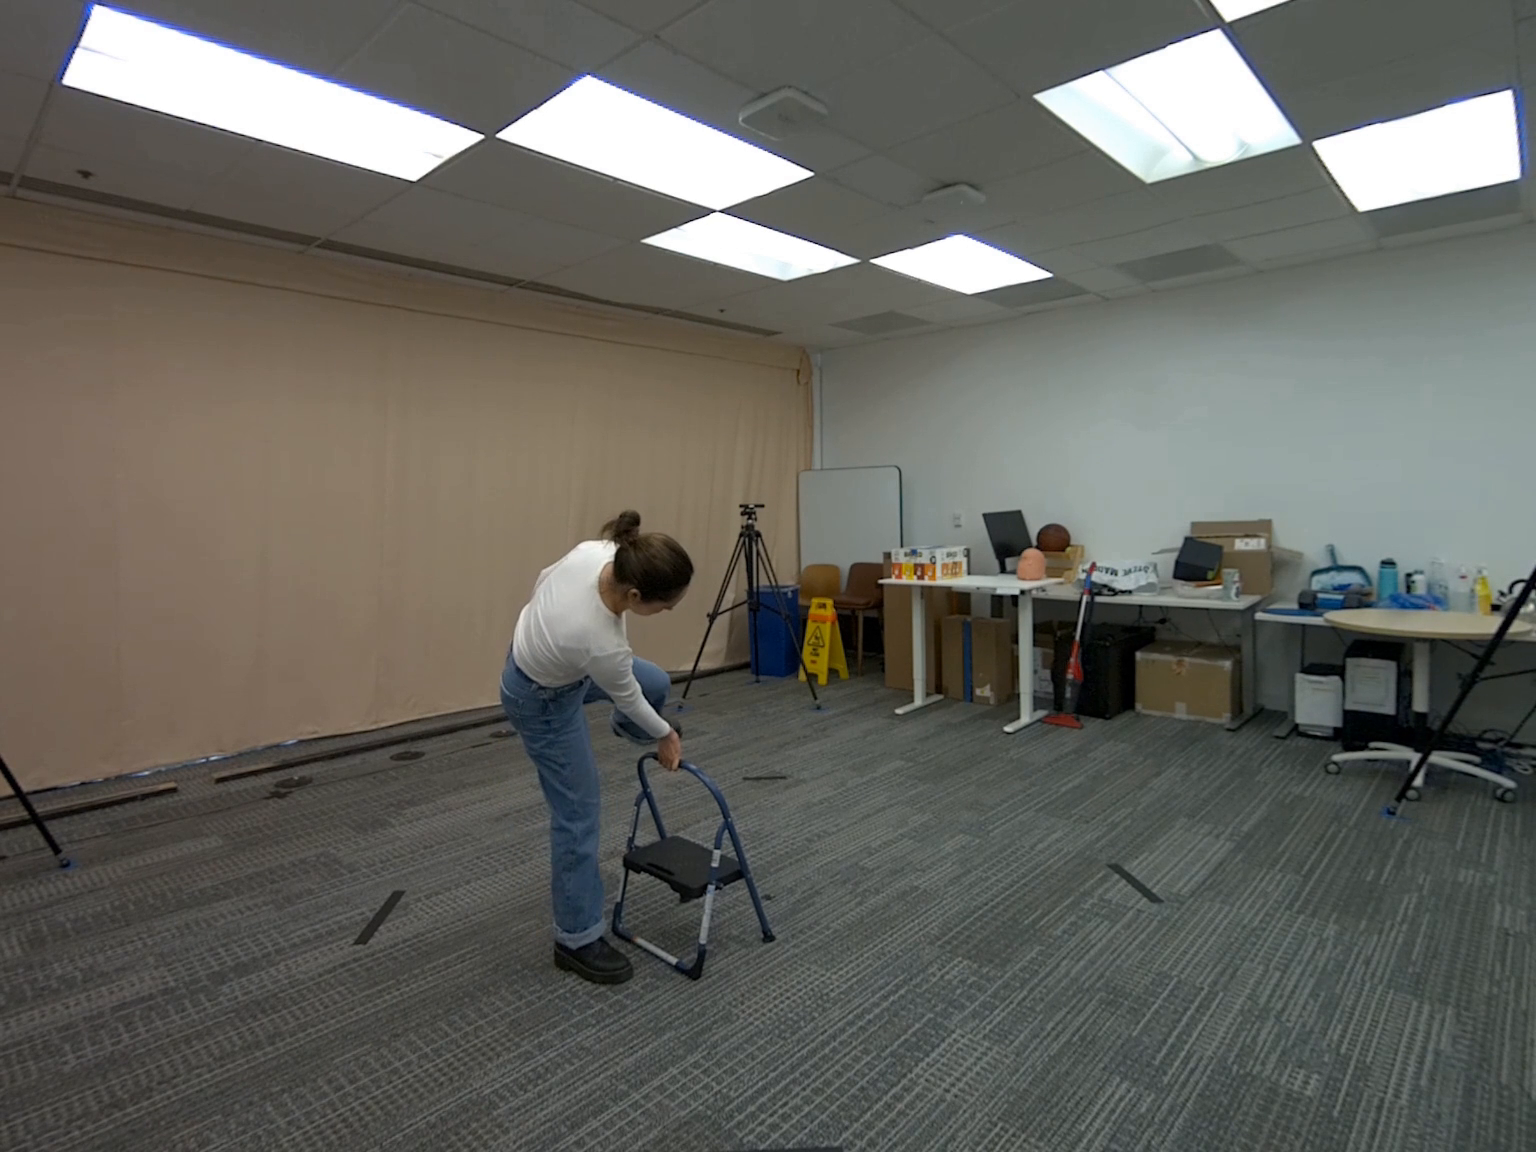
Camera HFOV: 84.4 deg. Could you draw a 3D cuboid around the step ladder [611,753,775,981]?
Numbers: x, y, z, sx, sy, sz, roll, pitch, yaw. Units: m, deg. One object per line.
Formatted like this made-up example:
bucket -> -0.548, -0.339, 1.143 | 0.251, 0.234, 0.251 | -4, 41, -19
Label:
step ladder -> -0.254, 0.867, 2.709 | 0.445, 0.605, 0.338 | 2, 4, 43
